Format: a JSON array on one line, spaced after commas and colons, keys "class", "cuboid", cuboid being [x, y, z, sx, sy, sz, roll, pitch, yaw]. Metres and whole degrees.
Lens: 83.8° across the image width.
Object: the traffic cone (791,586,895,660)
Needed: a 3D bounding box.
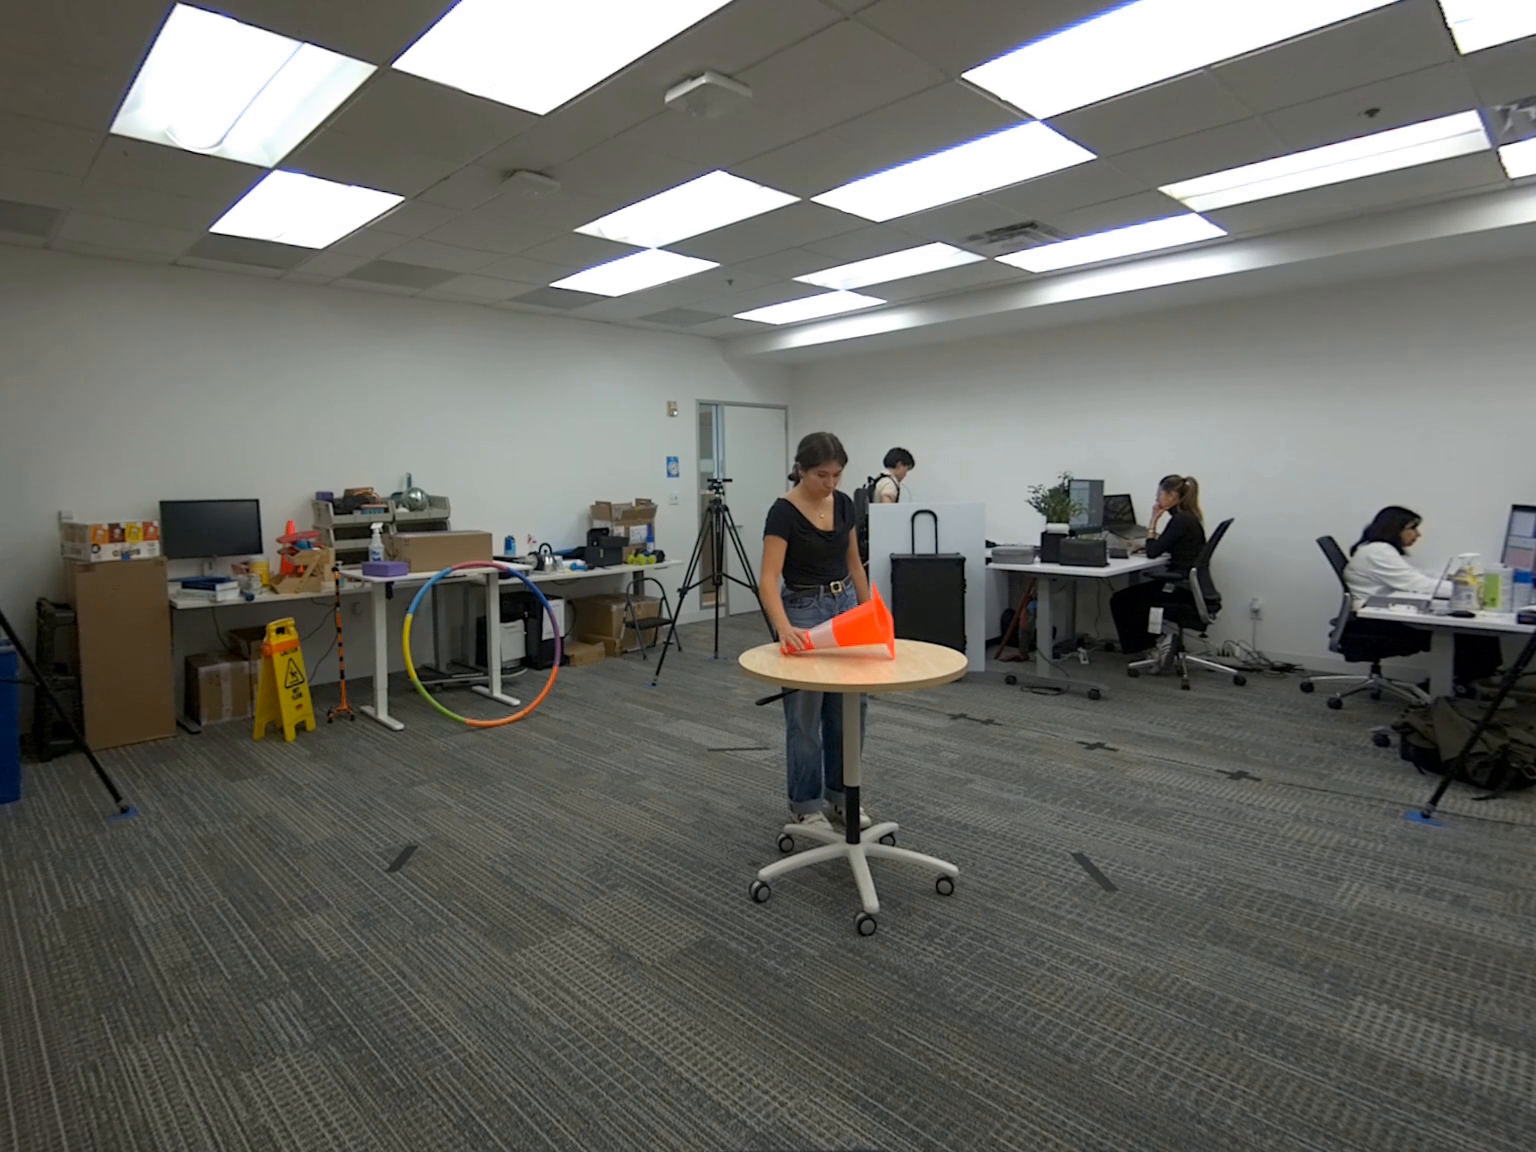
[{"class": "traffic cone", "cuboid": [0.221, 0.208, 2.942, 0.388, 0.196, 0.210, -19, 36, 19]}]
